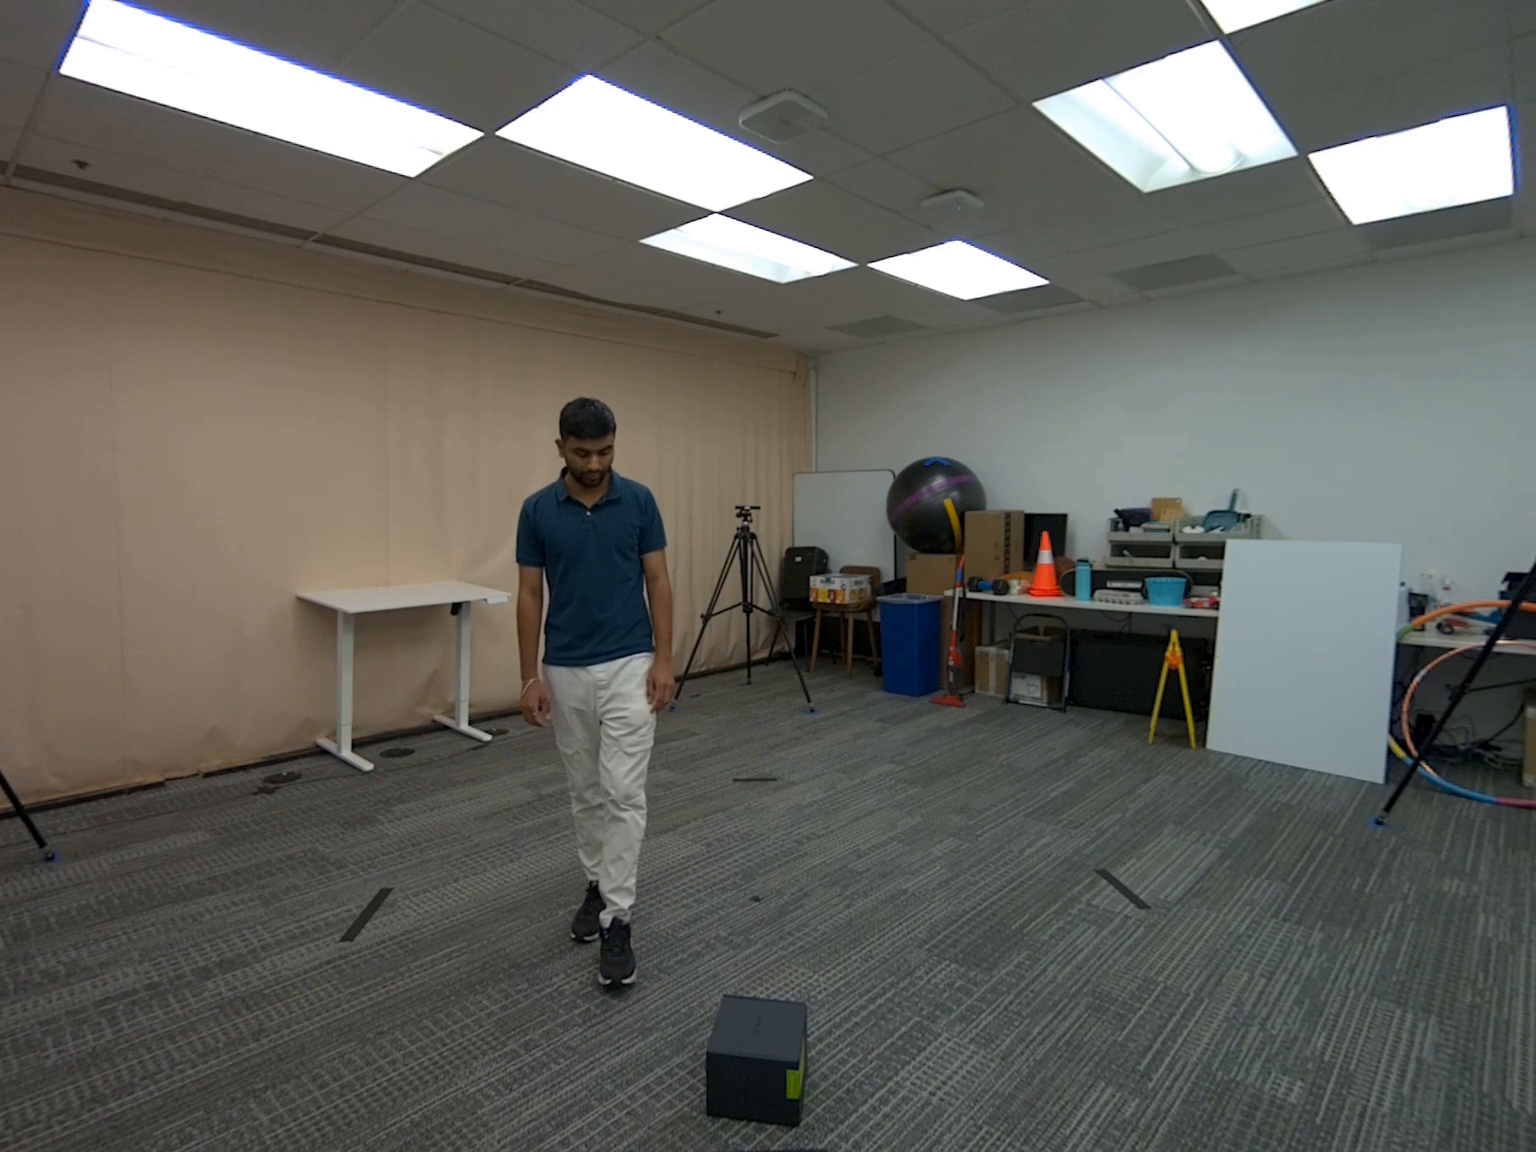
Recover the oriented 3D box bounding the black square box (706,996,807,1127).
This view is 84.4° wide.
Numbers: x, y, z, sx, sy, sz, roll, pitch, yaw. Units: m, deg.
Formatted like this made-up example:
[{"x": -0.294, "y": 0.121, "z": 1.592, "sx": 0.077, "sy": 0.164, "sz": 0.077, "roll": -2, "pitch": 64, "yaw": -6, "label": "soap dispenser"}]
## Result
[{"x": -0.017, "y": 1.143, "z": 2.002, "sx": 0.219, "sy": 0.155, "sz": 0.226, "roll": 0, "pitch": 4, "yaw": 9, "label": "black square box"}]
